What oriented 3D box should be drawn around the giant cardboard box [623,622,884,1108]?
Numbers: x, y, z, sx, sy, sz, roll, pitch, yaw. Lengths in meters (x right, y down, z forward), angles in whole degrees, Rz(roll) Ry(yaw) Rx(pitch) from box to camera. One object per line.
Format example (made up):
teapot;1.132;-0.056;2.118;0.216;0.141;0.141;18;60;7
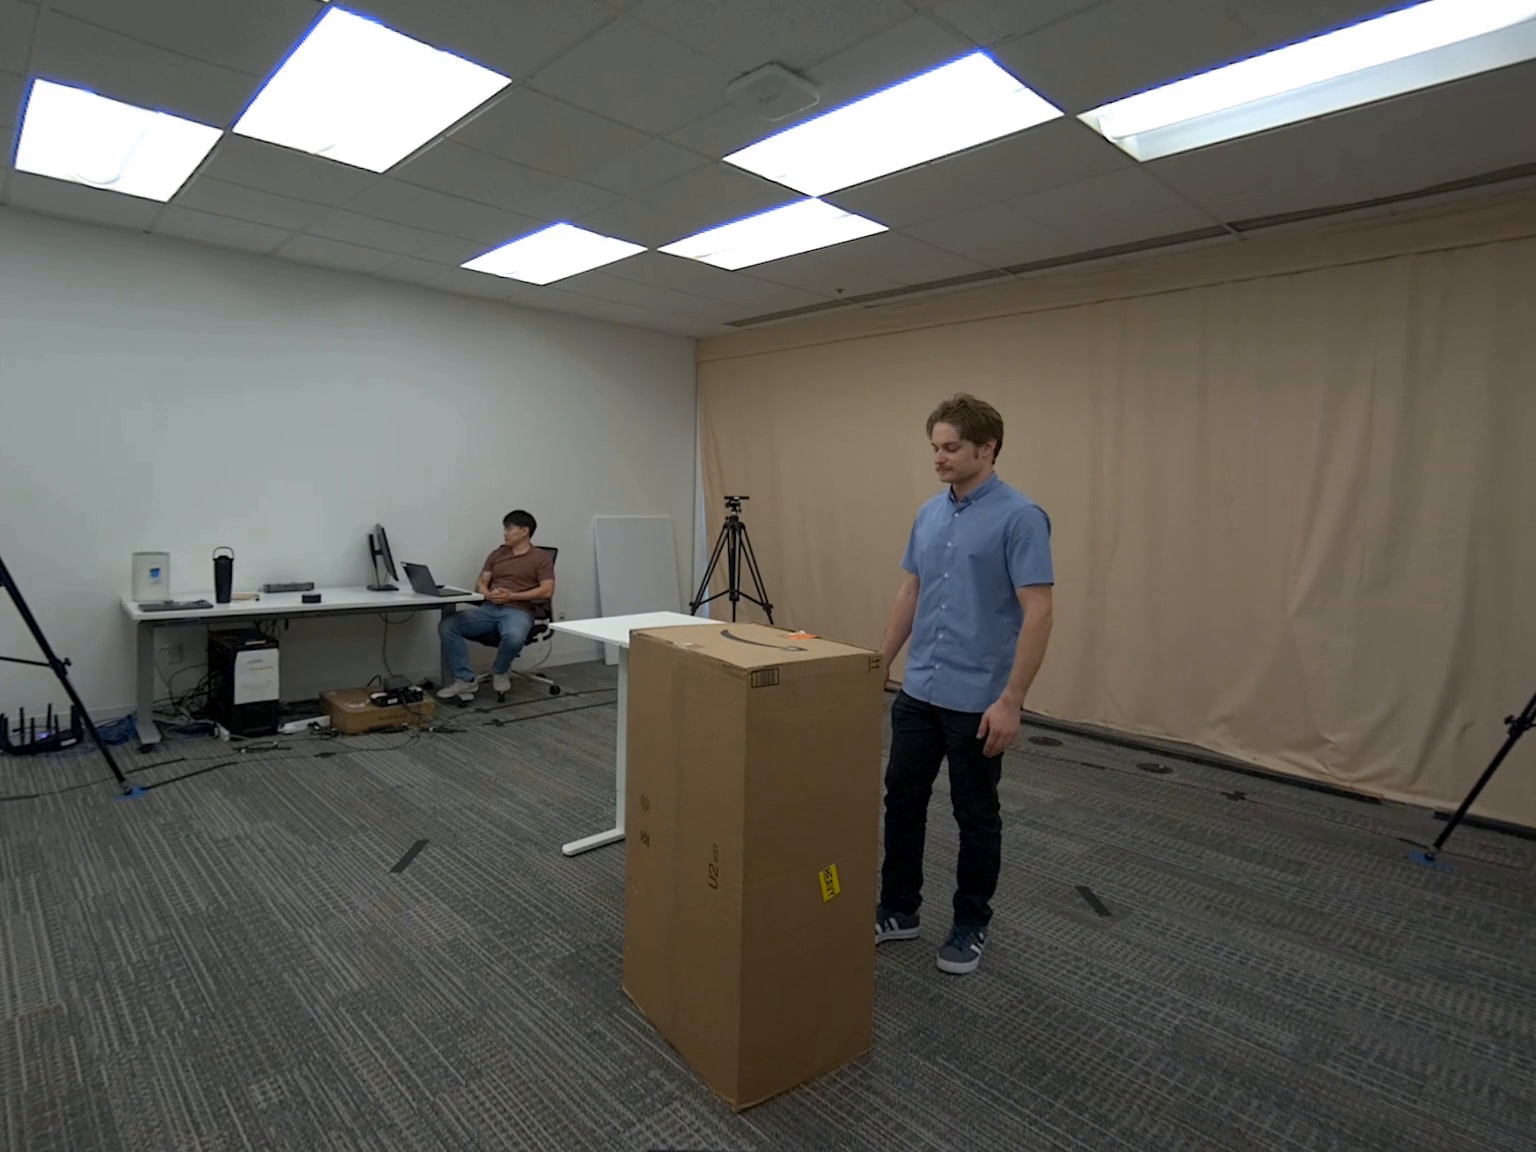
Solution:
giant cardboard box;-0.060;0.679;2.221;0.417;1.023;0.592;-1;4;-36
